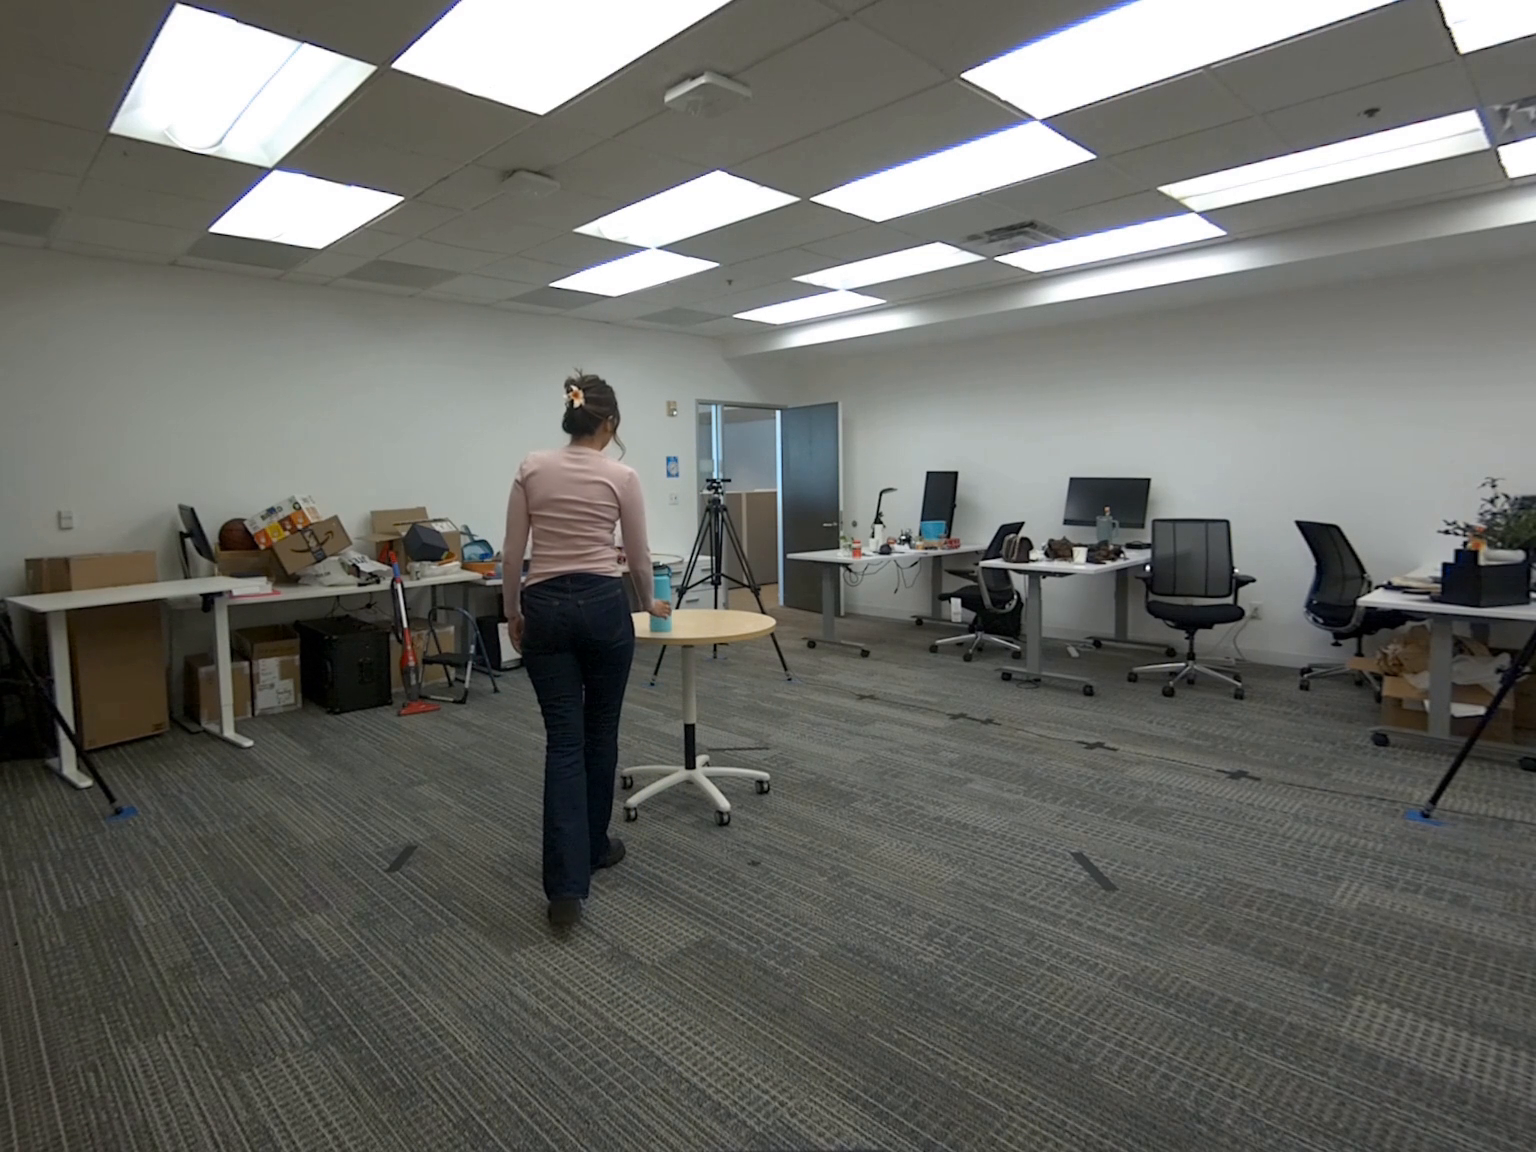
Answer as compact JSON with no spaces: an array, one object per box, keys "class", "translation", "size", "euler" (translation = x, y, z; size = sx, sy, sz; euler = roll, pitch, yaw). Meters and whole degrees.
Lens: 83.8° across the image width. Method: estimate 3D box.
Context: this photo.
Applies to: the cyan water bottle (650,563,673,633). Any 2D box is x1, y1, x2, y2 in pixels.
[{"class":"cyan water bottle","translation":[-0.443,0.085,3.490],"size":[0.092,0.282,0.093],"euler":[-2,3,-2]}]
